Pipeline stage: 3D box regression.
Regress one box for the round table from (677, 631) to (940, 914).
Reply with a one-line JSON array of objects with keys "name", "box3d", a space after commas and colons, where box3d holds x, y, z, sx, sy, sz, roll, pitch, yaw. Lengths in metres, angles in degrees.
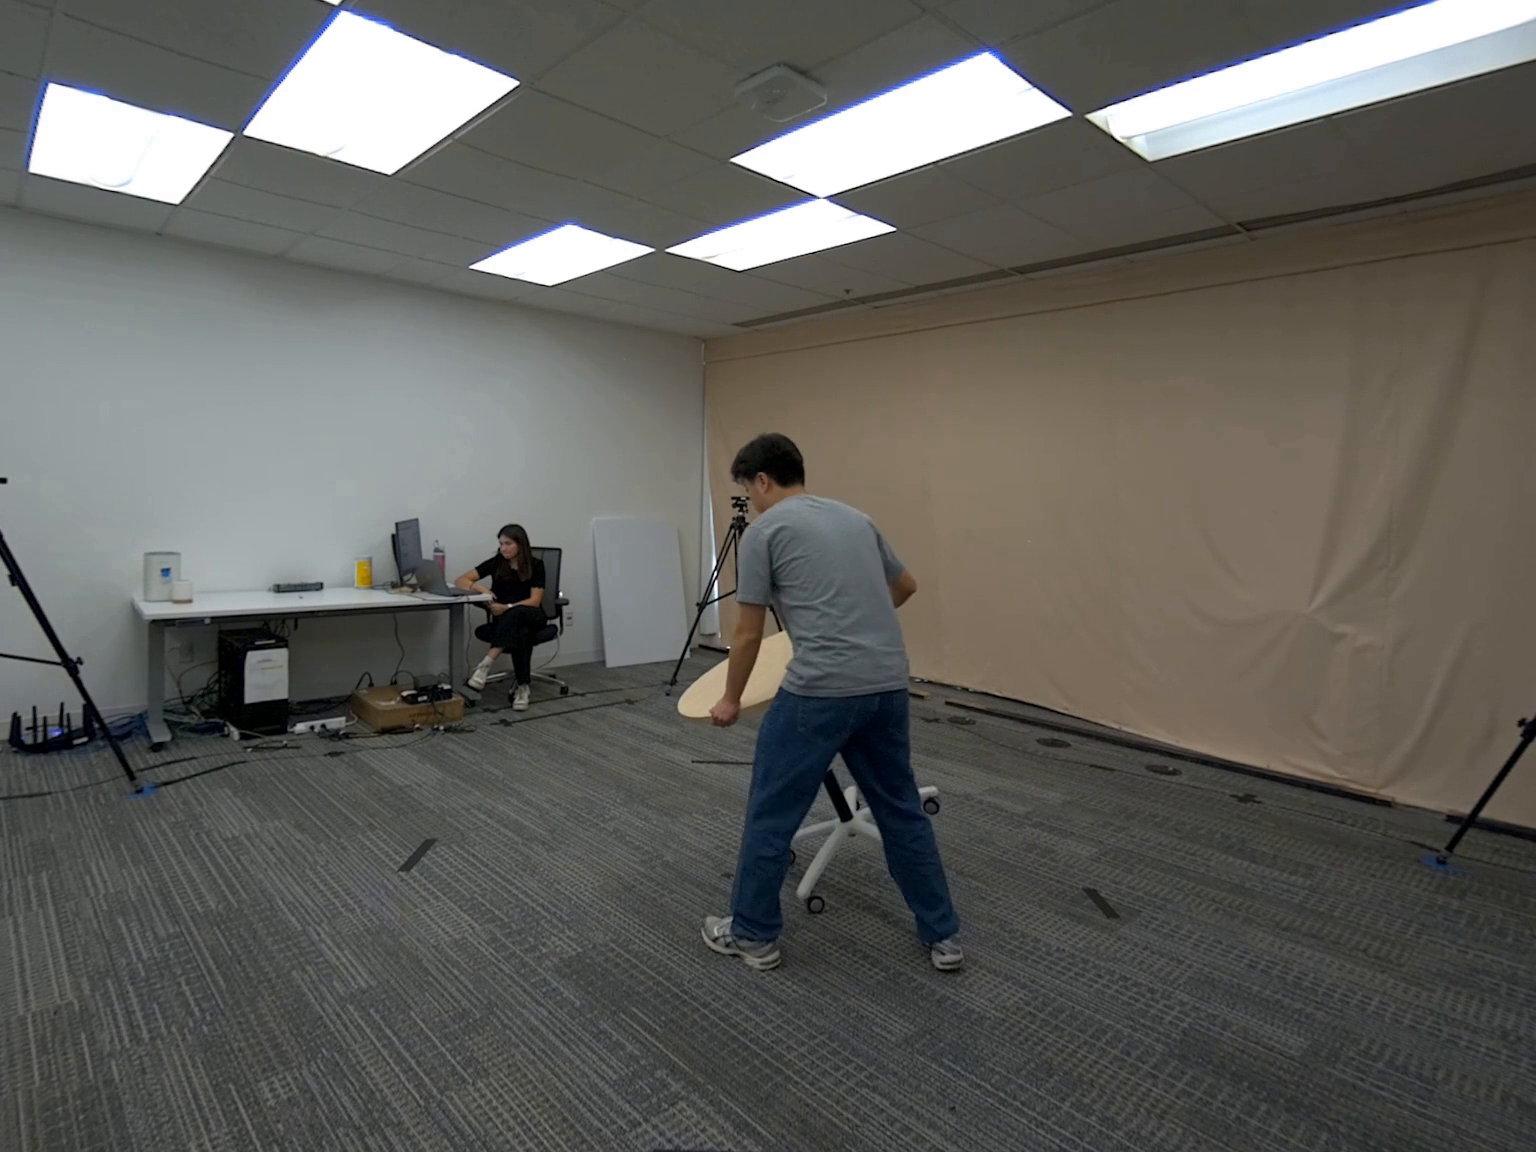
[{"name": "round table", "box3d": [0.185, 0.659, 3.037, 0.764, 0.788, 0.769, -24, 8, 2]}]
